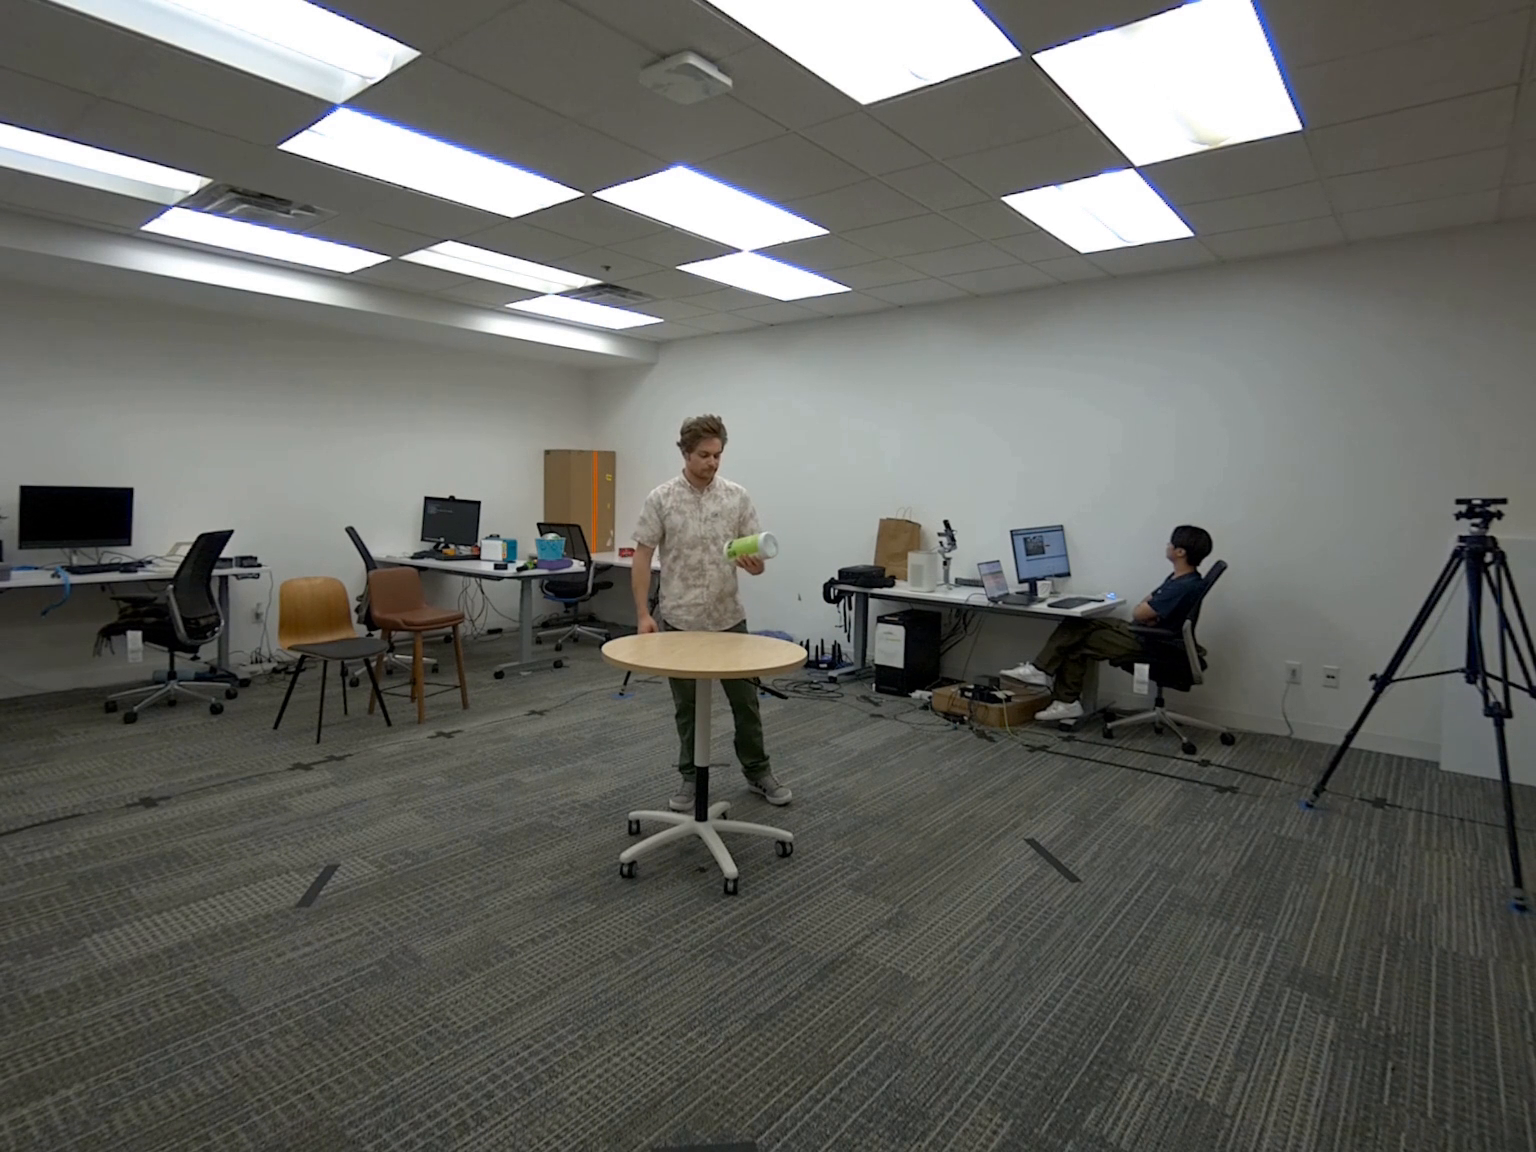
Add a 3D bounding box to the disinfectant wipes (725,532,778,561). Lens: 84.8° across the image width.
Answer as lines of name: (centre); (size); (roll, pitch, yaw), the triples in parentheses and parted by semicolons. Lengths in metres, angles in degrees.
disinfectant wipes: (-0.084, -0.114, 3.499); (0.223, 0.118, 0.114); (-12, -6, 40)
